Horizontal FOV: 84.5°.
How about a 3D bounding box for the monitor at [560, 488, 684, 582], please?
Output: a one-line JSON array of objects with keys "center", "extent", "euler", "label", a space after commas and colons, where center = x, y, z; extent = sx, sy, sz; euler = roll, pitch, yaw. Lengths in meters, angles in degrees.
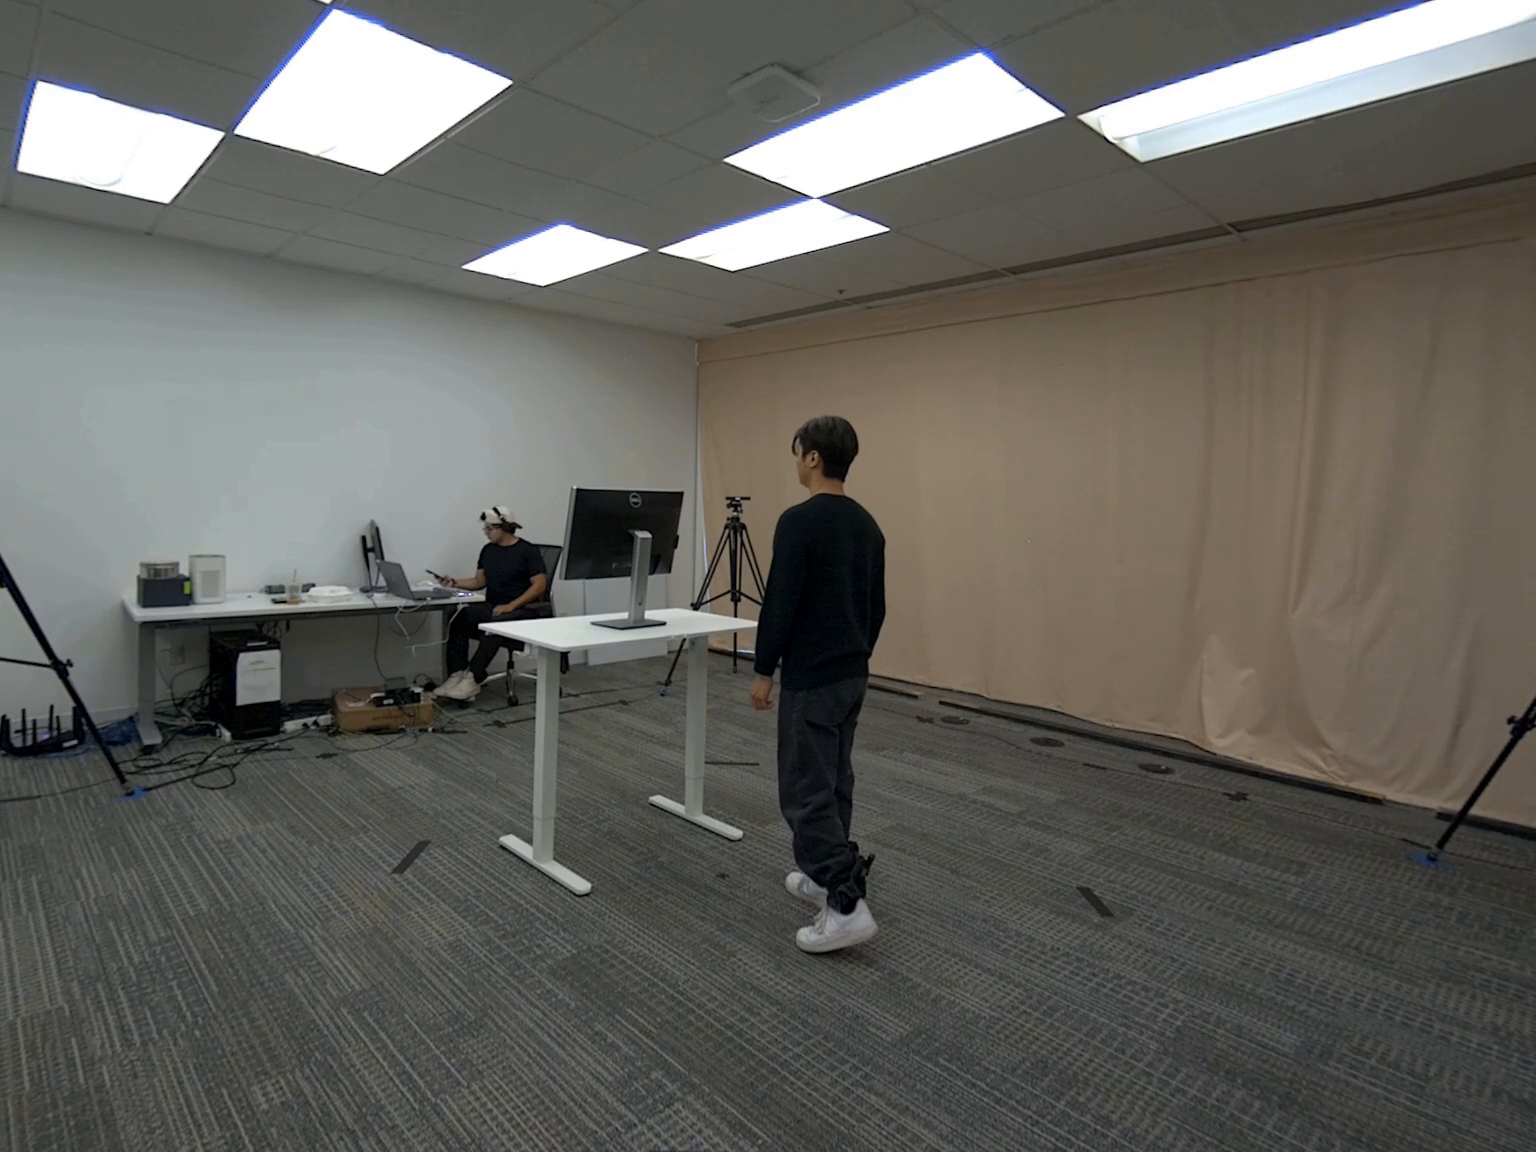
[{"center": [-0.556, -0.074, 3.334], "extent": [0.178, 0.516, 0.519], "euler": [-3, 2, 40], "label": "monitor"}]
